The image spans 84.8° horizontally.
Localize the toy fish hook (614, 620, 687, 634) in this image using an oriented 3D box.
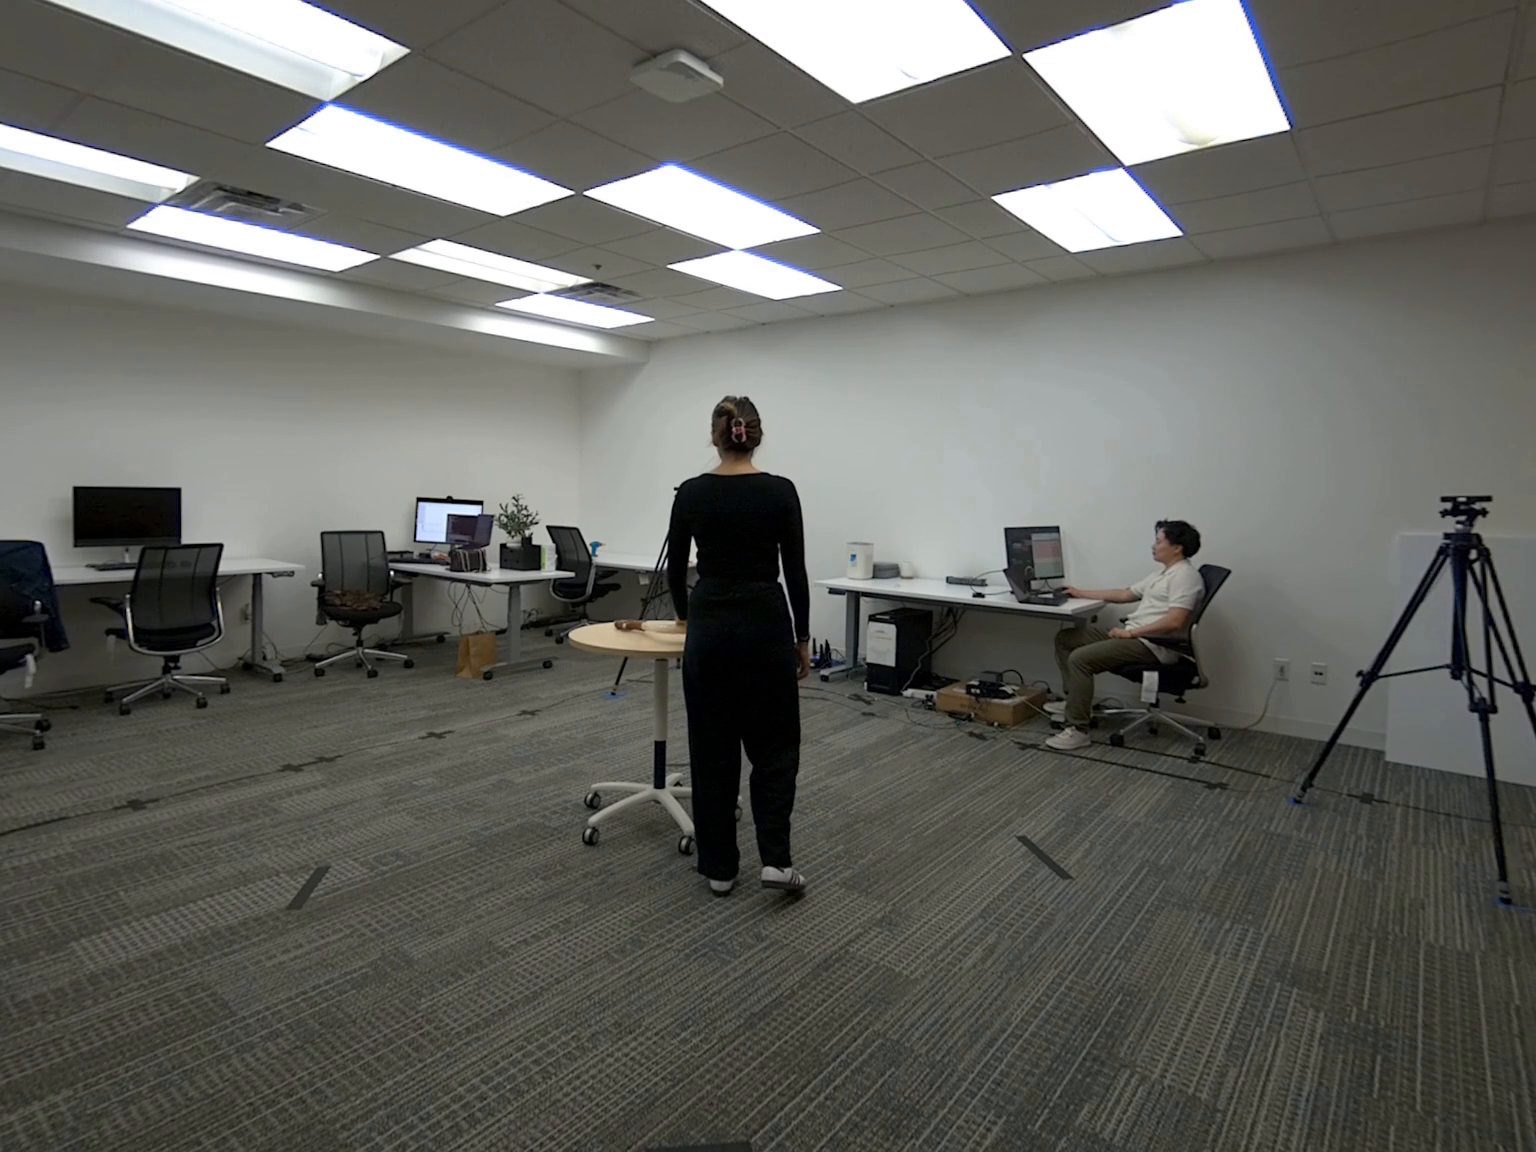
[{"bbox_3d":[-0.450,0.208,3.514,0.217,0.048,0.523,0,1,-43],"label":"toy fish hook"}]
